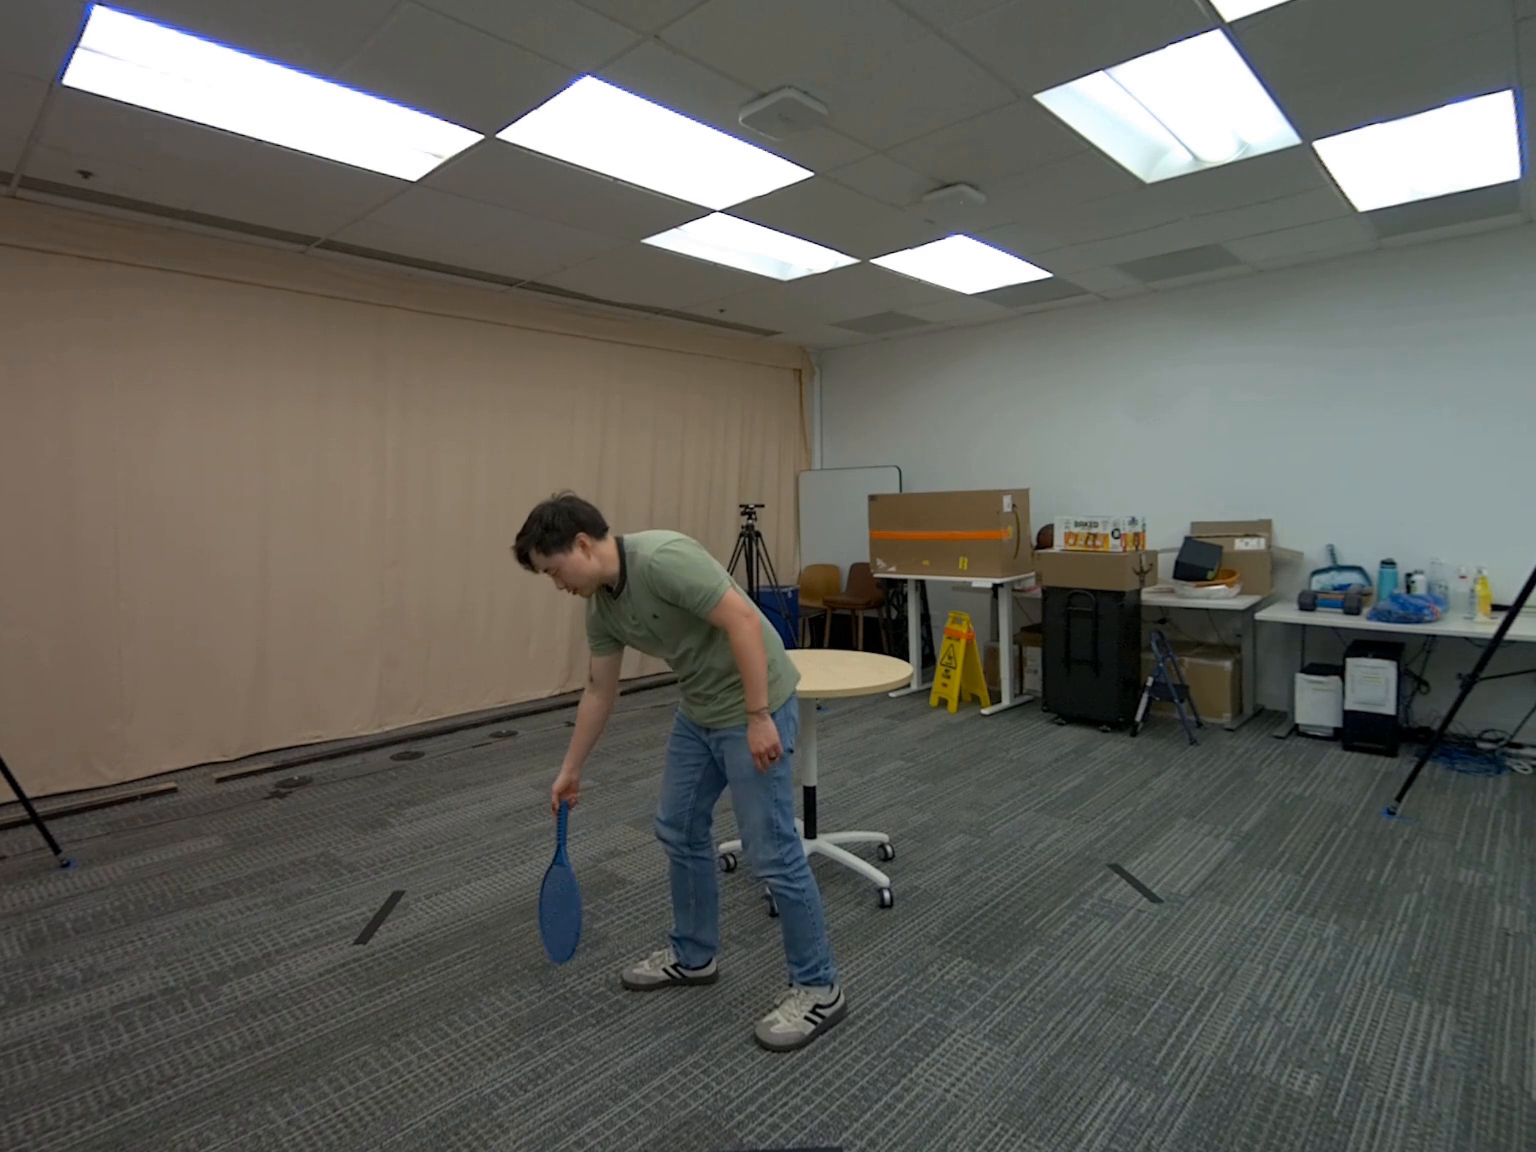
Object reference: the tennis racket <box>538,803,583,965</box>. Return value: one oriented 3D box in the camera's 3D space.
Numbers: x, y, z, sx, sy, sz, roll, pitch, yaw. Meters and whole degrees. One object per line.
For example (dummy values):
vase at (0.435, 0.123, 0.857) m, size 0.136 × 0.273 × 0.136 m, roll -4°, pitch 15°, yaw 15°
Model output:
tennis racket at (-0.584, 0.855, 2.381) m, size 0.030 × 0.436 × 0.220 m, roll 12°, pitch -16°, yaw -43°
